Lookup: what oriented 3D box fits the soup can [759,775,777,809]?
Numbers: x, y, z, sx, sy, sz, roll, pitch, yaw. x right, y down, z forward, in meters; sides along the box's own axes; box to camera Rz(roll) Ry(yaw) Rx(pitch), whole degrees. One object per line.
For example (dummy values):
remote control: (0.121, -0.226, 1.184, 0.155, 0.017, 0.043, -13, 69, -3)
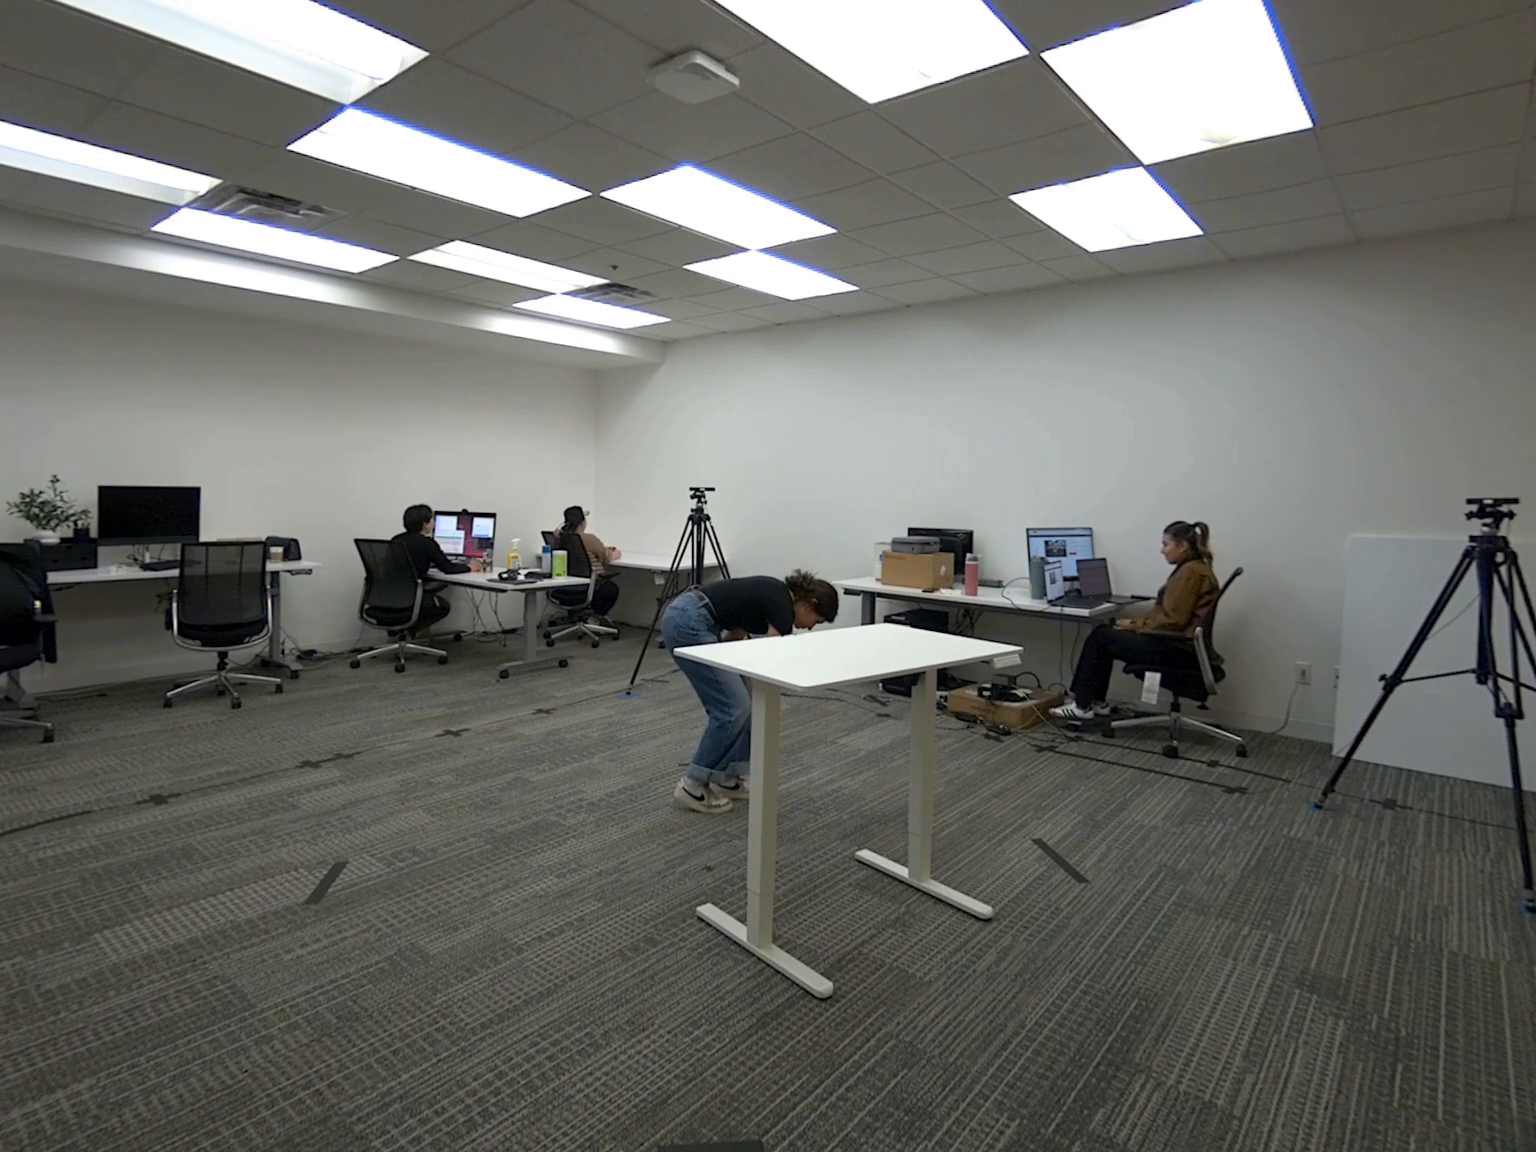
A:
soup can: (-0.002, 0.952, 3.712, 0.067, 0.120, 0.068, 3, 10, -2)
